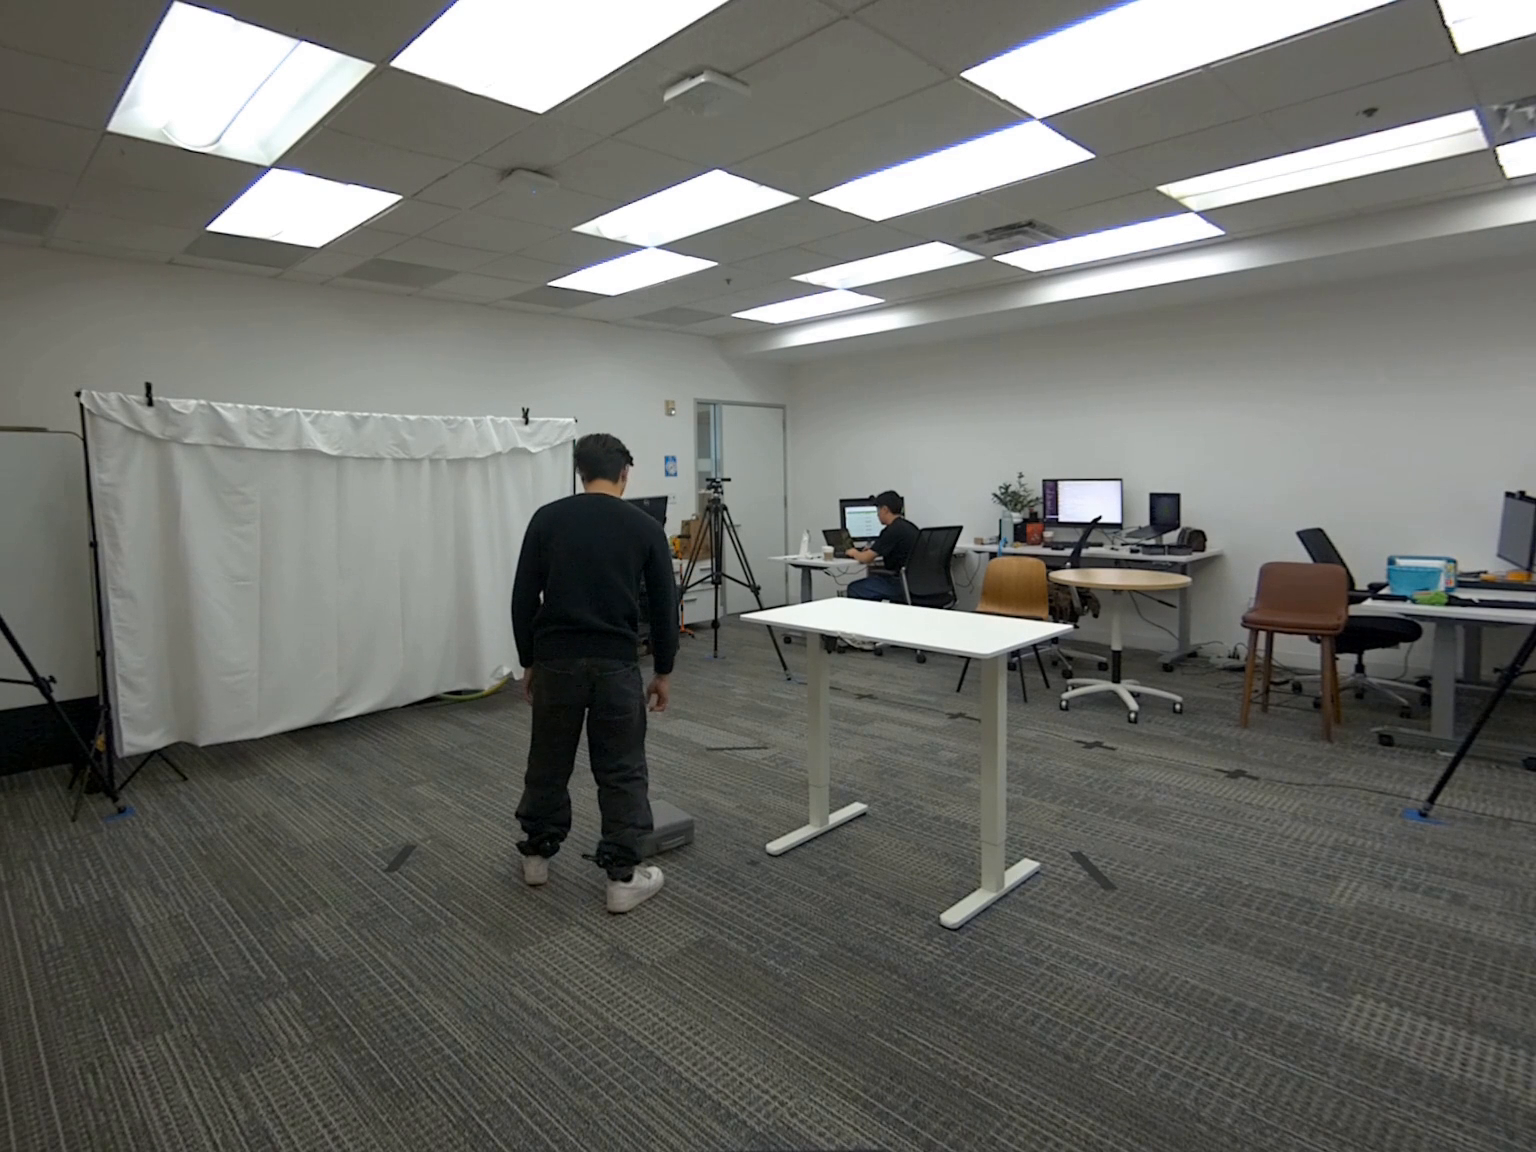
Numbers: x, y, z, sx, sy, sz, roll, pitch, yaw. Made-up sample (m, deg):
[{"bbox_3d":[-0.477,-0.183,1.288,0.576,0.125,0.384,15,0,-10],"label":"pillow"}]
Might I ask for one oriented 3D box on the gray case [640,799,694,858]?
[{"bbox_3d":[-0.441,0.966,3.302,0.250,0.104,0.269,-4,8,-38],"label":"gray case"}]
